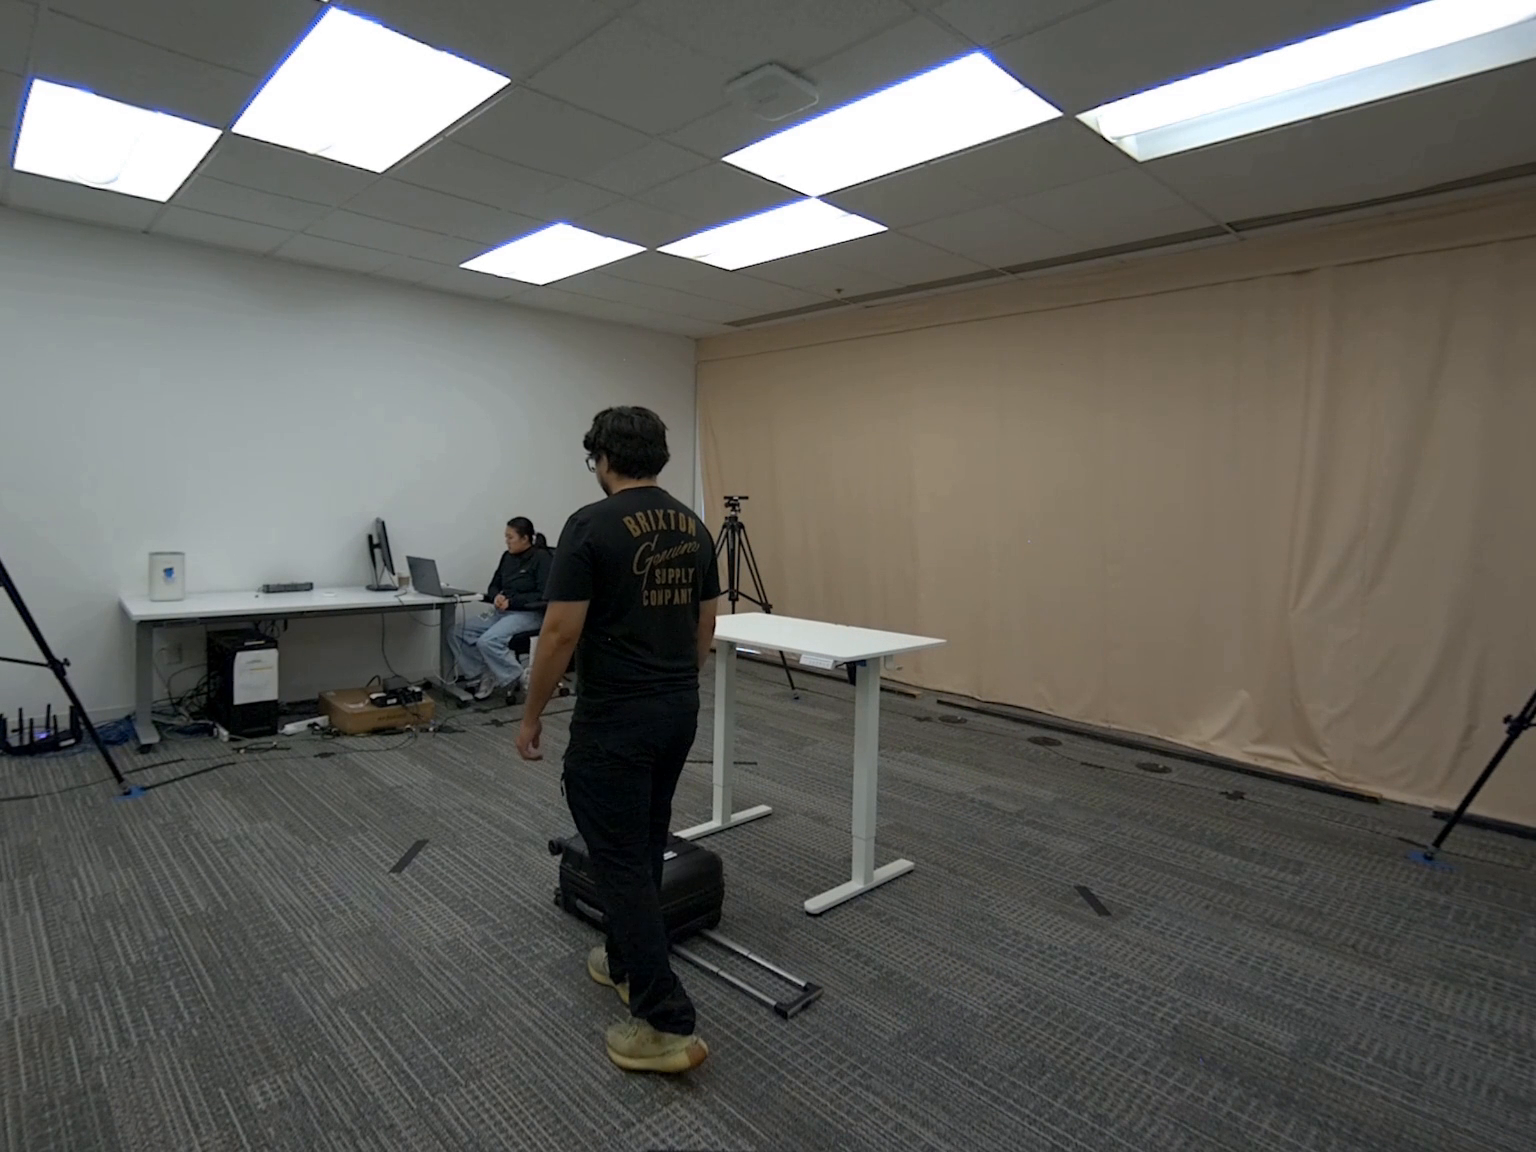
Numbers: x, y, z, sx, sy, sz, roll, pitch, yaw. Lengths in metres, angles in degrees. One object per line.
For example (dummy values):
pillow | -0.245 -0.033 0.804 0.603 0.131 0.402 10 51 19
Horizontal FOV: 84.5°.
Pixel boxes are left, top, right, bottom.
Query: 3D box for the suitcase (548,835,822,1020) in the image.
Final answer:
suitcase | -0.272 1.018 2.630 1.003 0.256 0.375 4 4 42
